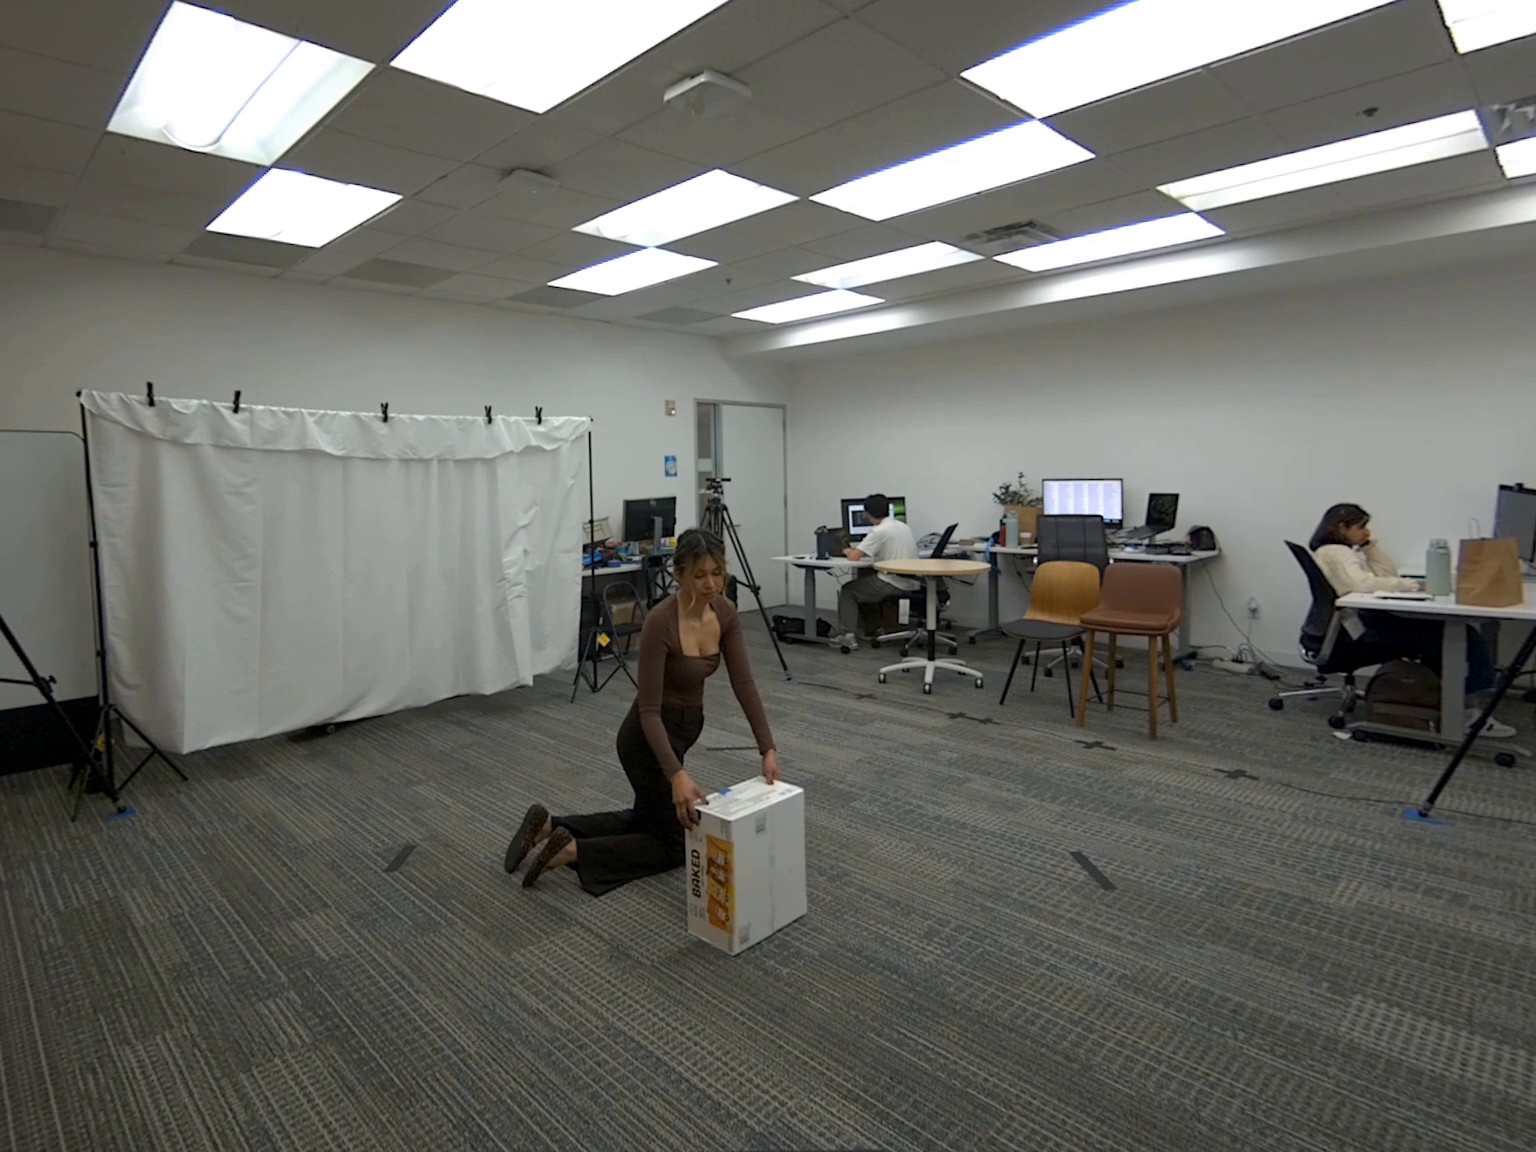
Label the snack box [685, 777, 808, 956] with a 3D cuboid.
[{"bbox_3d":[-0.060,0.891,2.675,0.212,0.404,0.331,1,5,43],"label":"snack box"}]
